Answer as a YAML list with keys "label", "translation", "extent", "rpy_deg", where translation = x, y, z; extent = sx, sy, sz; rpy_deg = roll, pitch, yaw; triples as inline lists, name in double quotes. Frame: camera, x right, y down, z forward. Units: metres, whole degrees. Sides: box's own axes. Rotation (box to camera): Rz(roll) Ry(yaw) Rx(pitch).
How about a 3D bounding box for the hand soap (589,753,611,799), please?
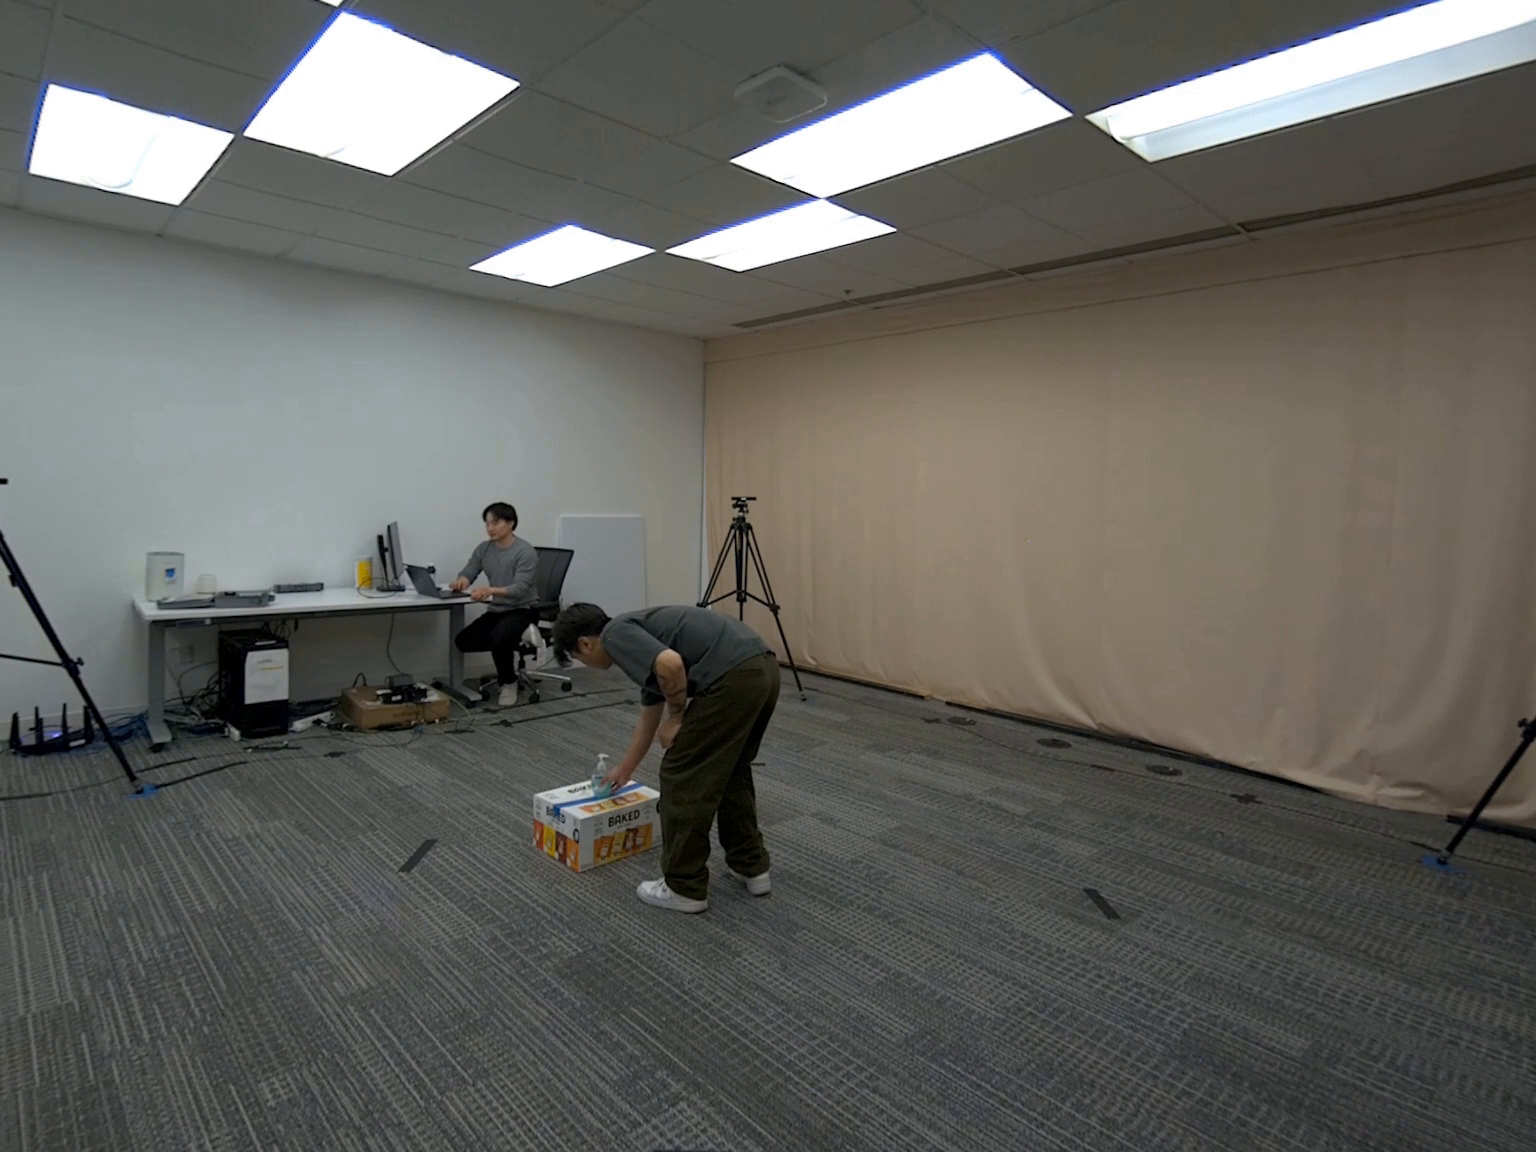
- label: "hand soap"
  translation: [-0.666, 0.793, 3.349]
  extent: [0.085, 0.168, 0.043]
  rpy_deg: [2, -2, 4]
